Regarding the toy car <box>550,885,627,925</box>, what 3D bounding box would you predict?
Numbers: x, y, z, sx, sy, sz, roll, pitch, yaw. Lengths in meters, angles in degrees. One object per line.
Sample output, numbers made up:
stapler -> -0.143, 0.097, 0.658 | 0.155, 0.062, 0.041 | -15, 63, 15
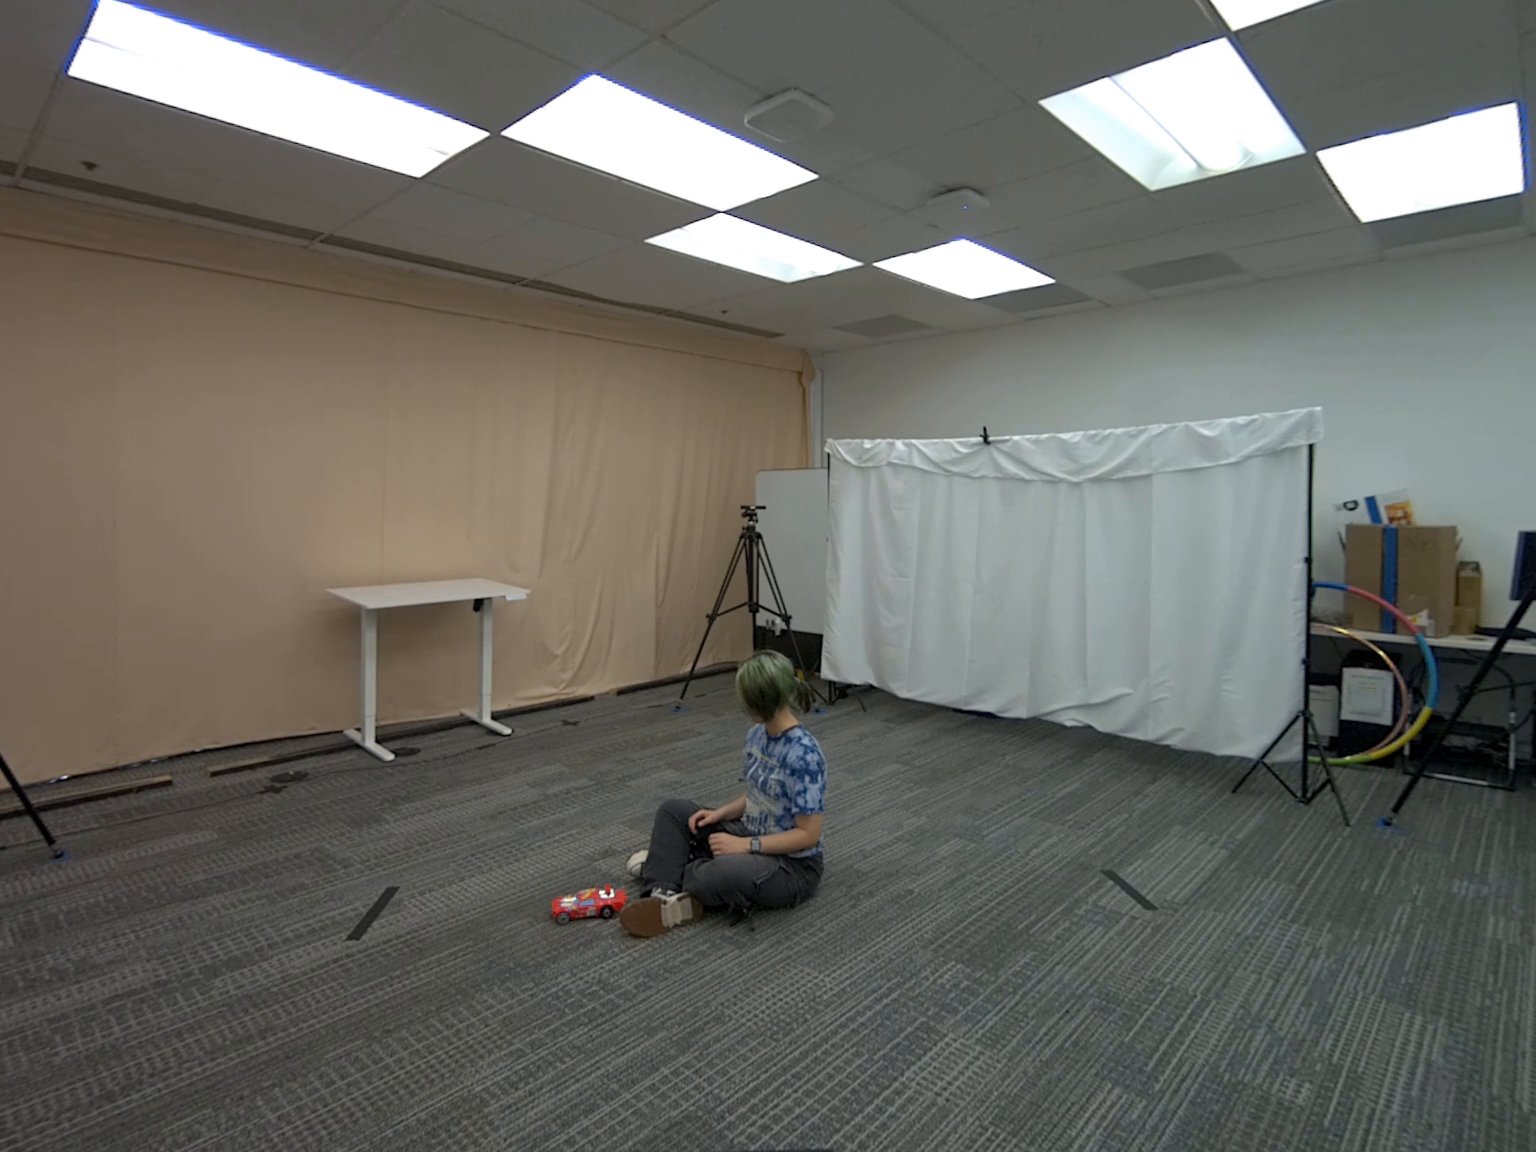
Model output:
toy car -> -0.609, 1.125, 2.885 | 0.251, 0.083, 0.132 | -13, 6, -13
